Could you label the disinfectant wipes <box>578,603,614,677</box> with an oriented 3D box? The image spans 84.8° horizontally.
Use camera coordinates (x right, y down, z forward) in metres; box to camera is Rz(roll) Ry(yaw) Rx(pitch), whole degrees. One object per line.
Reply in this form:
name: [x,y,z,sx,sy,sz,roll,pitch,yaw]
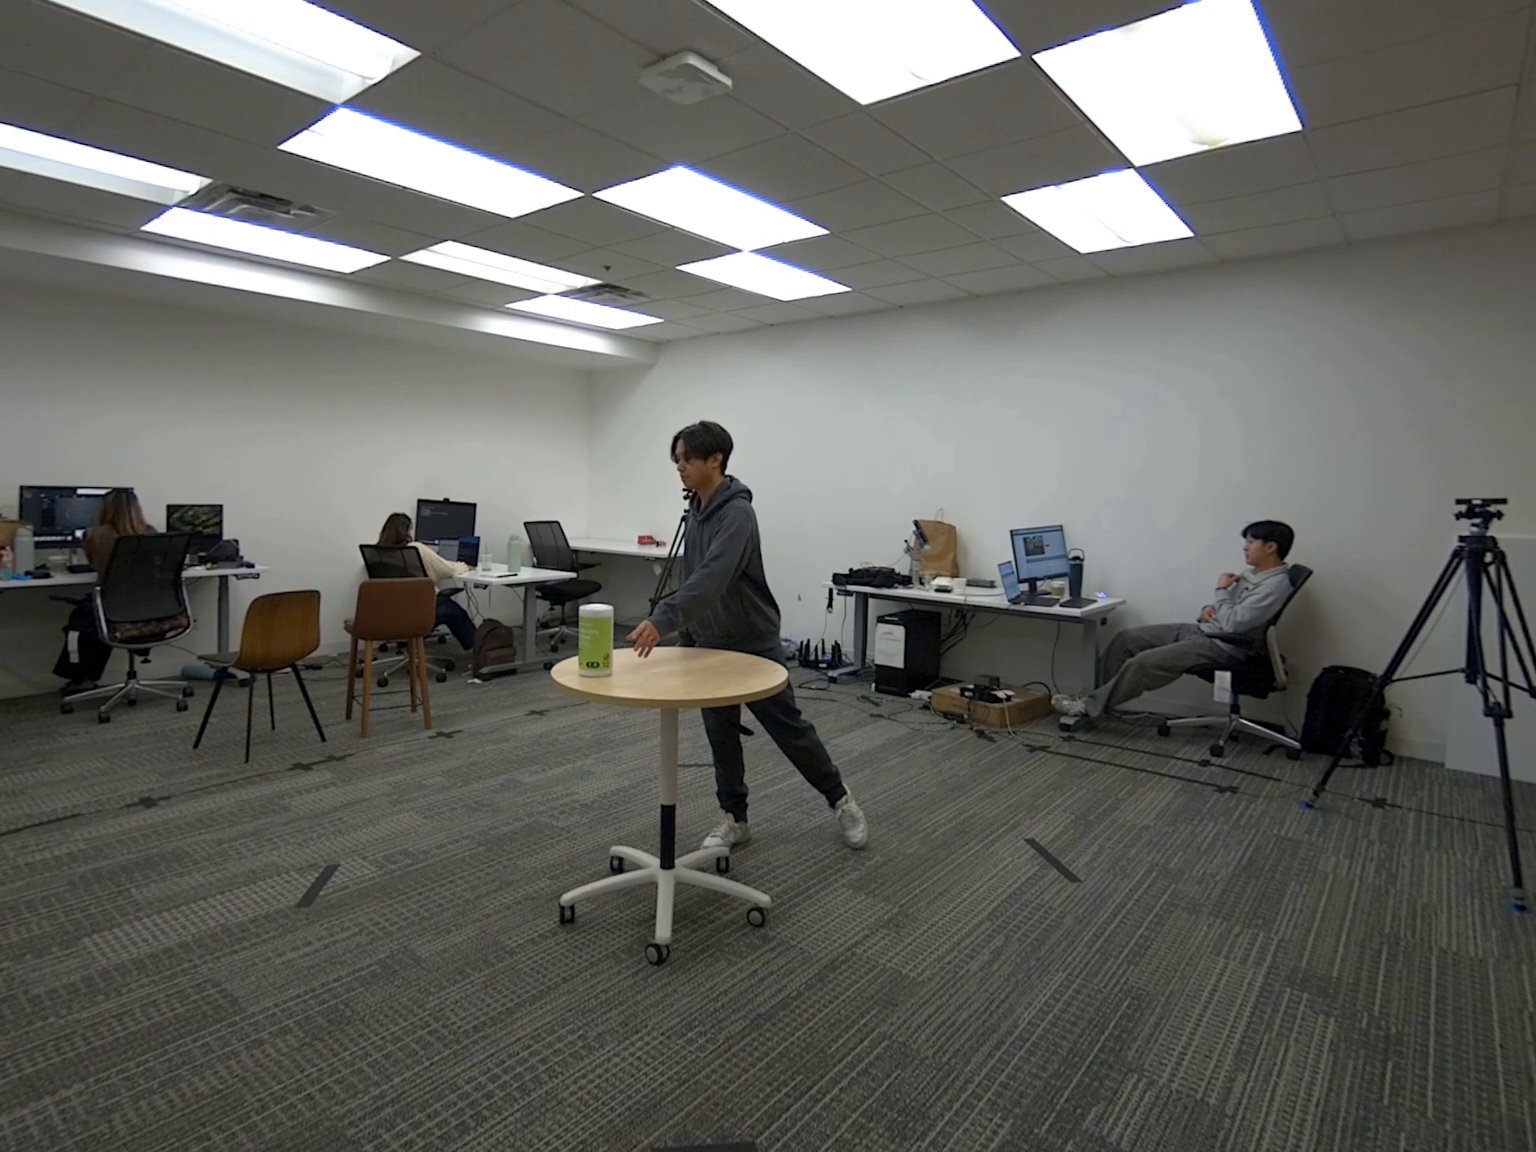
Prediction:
disinfectant wipes: [-0.550,0.201,2.689,0.118,0.216,0.118,0,5,-2]
